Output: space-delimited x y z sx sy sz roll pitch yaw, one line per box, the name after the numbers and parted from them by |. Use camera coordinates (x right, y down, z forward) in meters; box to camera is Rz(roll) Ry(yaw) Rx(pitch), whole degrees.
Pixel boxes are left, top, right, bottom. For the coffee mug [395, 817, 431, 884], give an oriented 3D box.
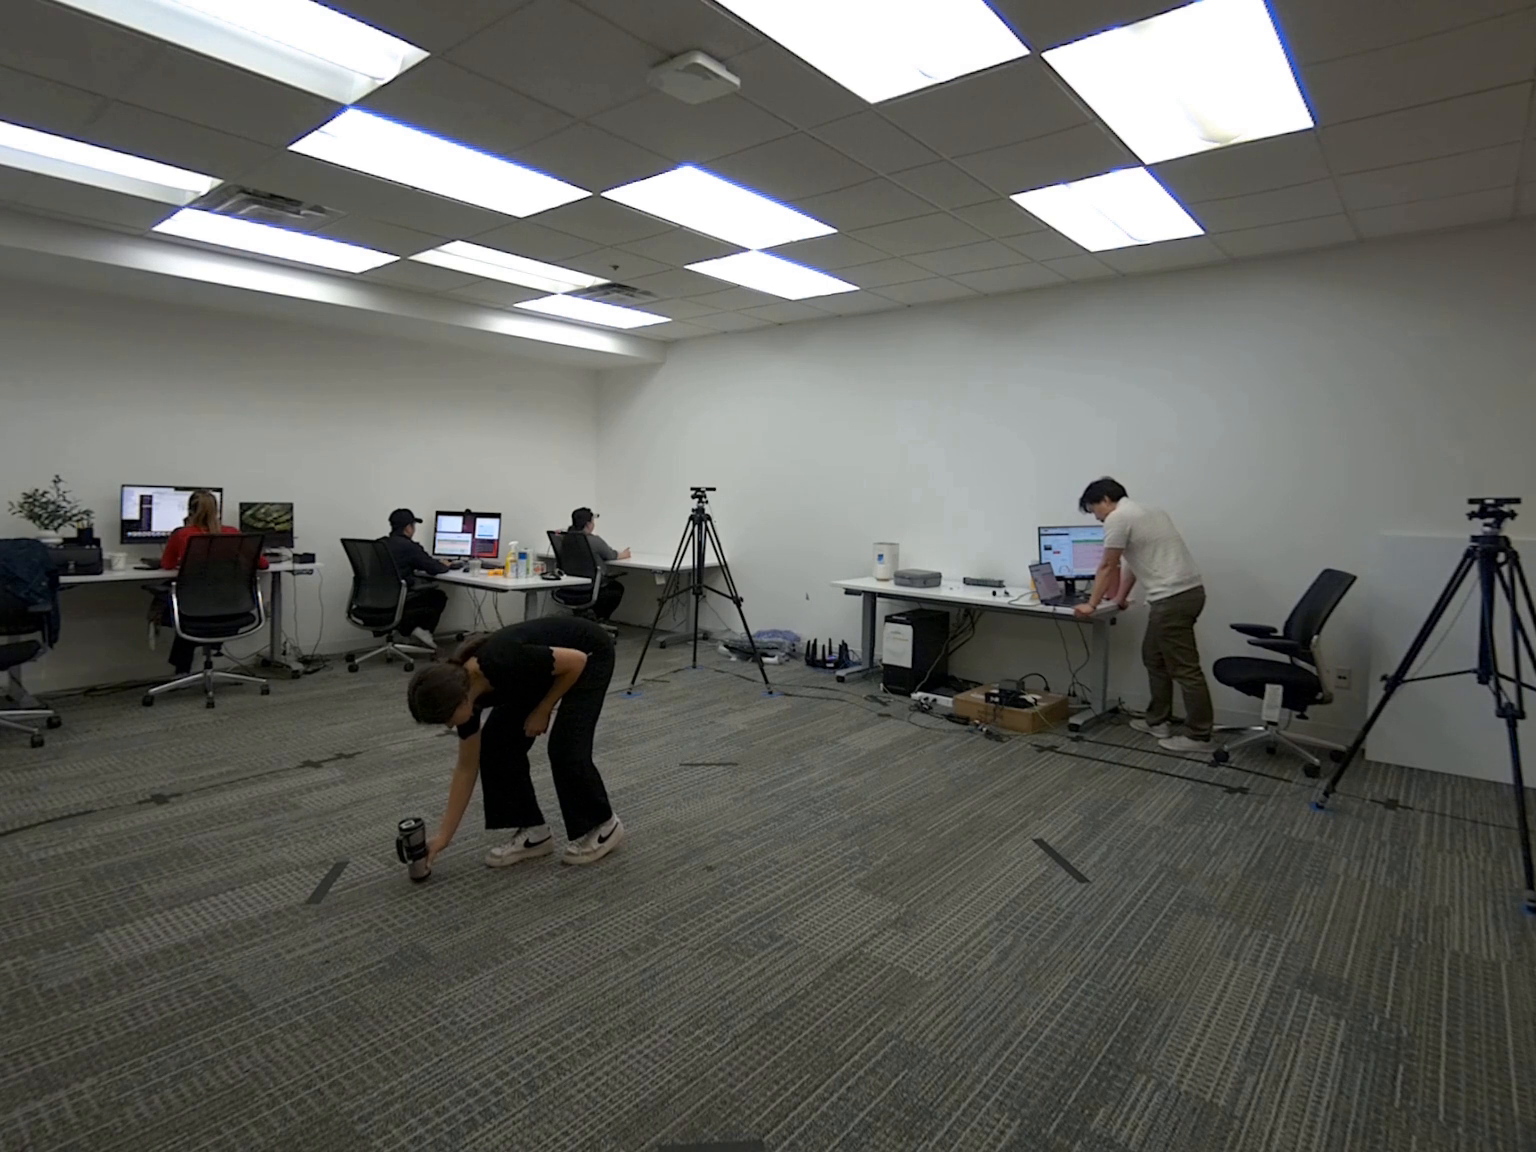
-1.255 0.956 2.946 0.090 0.201 0.119 3 9 29 | coffee mug
